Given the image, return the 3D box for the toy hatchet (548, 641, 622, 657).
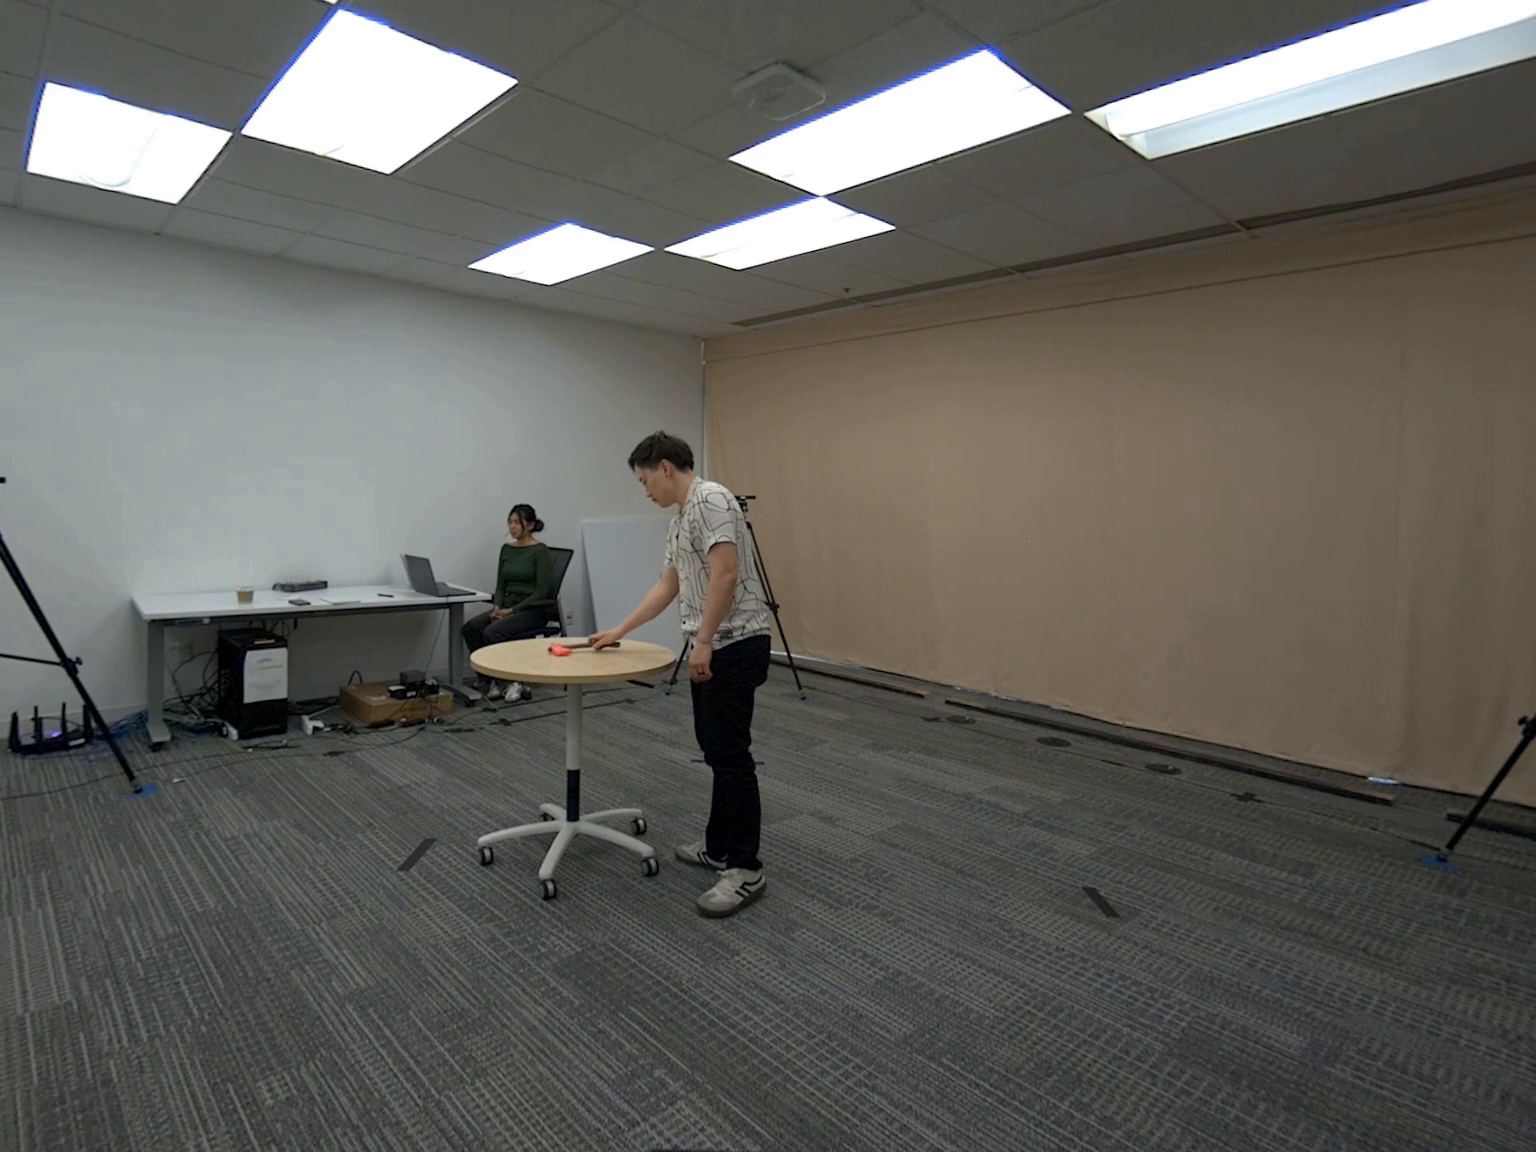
[{"bbox_3d":[-0.706,0.278,3.202,0.269,0.029,0.132,0,12,-2],"label":"toy hatchet"}]
